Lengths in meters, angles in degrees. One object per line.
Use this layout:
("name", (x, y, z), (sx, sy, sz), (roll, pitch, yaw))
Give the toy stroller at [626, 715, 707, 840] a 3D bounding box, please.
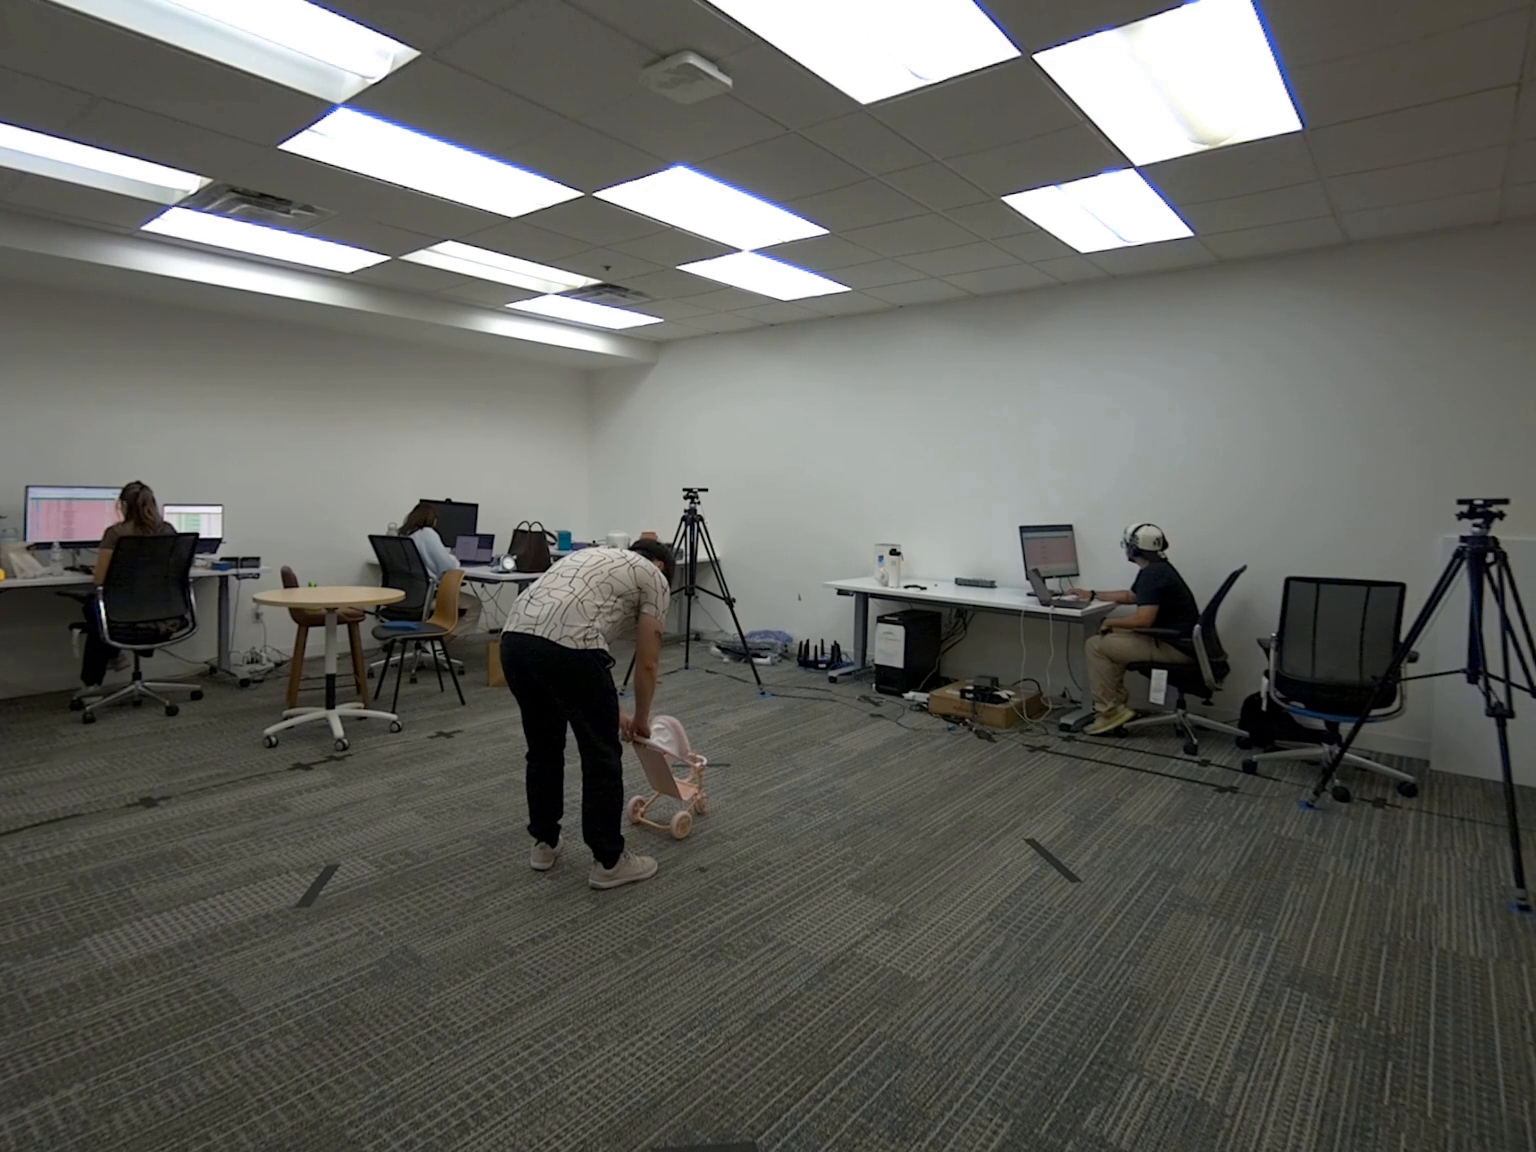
("toy stroller", (-0.415, 0.801, 3.491), (0.291, 0.526, 0.335), (4, 21, 43))
